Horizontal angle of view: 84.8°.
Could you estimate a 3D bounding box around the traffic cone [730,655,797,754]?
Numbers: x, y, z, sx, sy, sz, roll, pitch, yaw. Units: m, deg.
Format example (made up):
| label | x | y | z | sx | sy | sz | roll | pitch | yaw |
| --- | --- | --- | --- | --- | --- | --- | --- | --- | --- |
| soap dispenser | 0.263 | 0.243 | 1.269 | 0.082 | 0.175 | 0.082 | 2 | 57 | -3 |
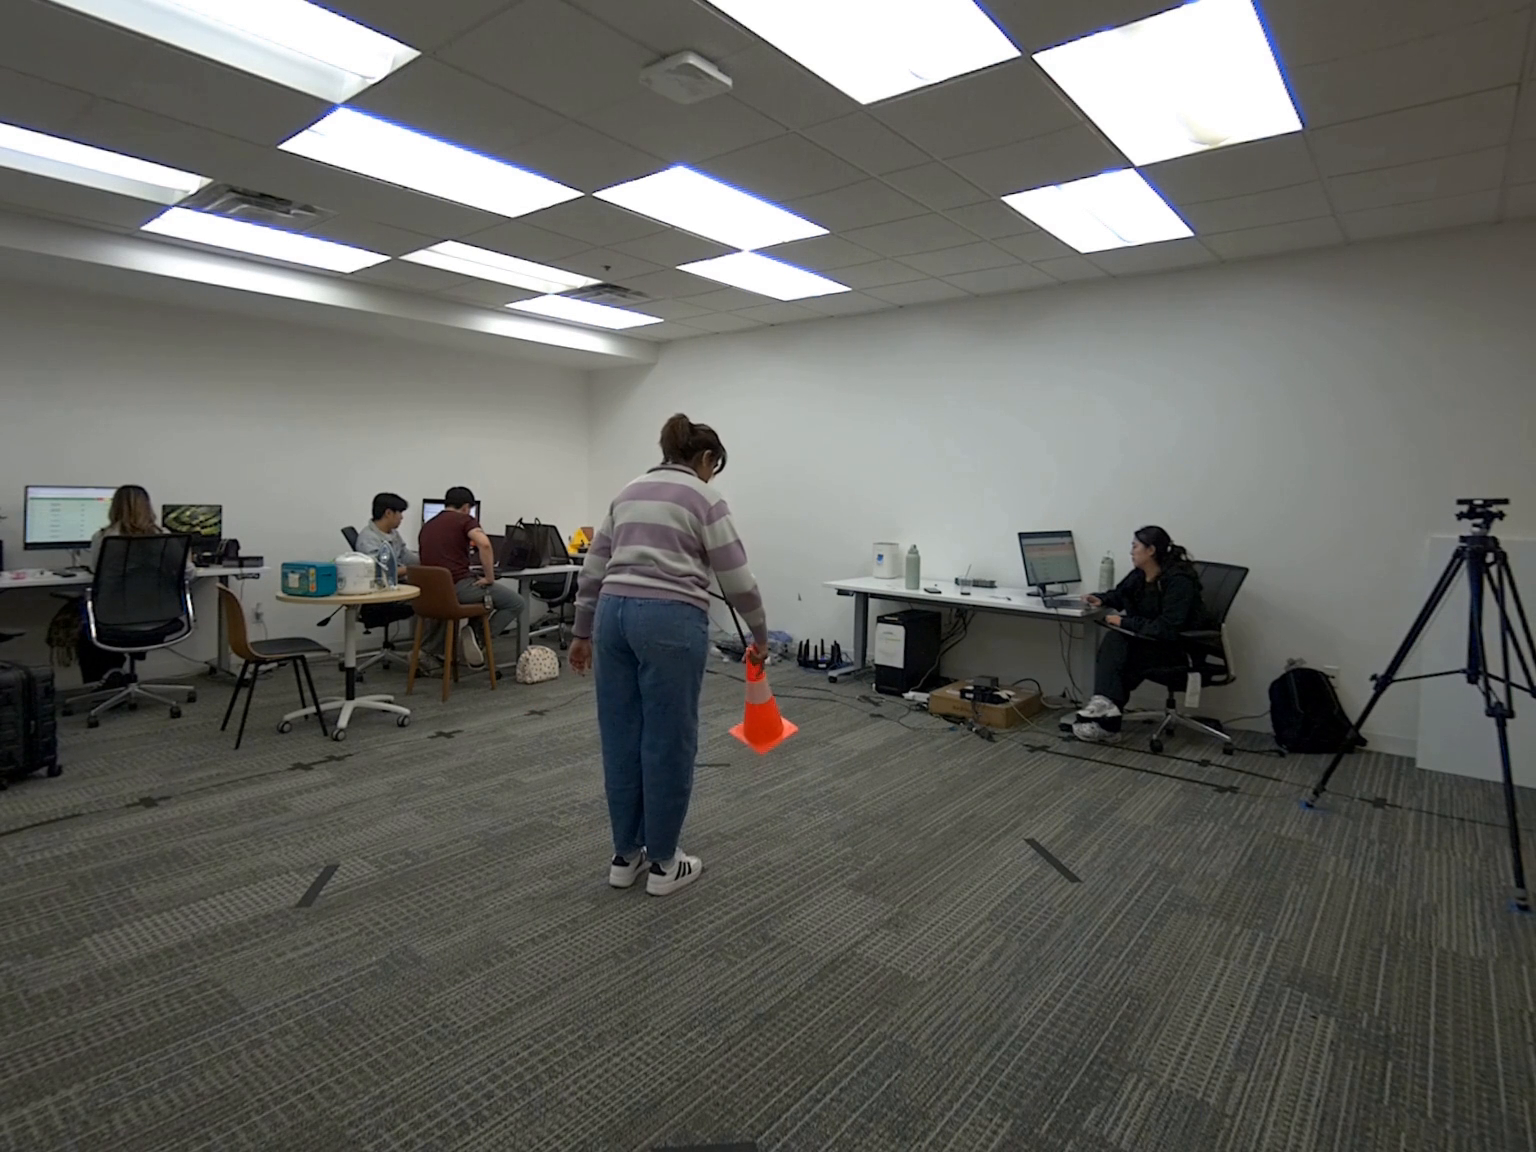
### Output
| label | x | y | z | sx | sy | sz | roll | pitch | yaw |
| --- | --- | --- | --- | --- | --- | --- | --- | --- | --- |
| traffic cone | -0.057 | 0.438 | 3.196 | 0.202 | 0.373 | 0.212 | -26 | 32 | -30 |
